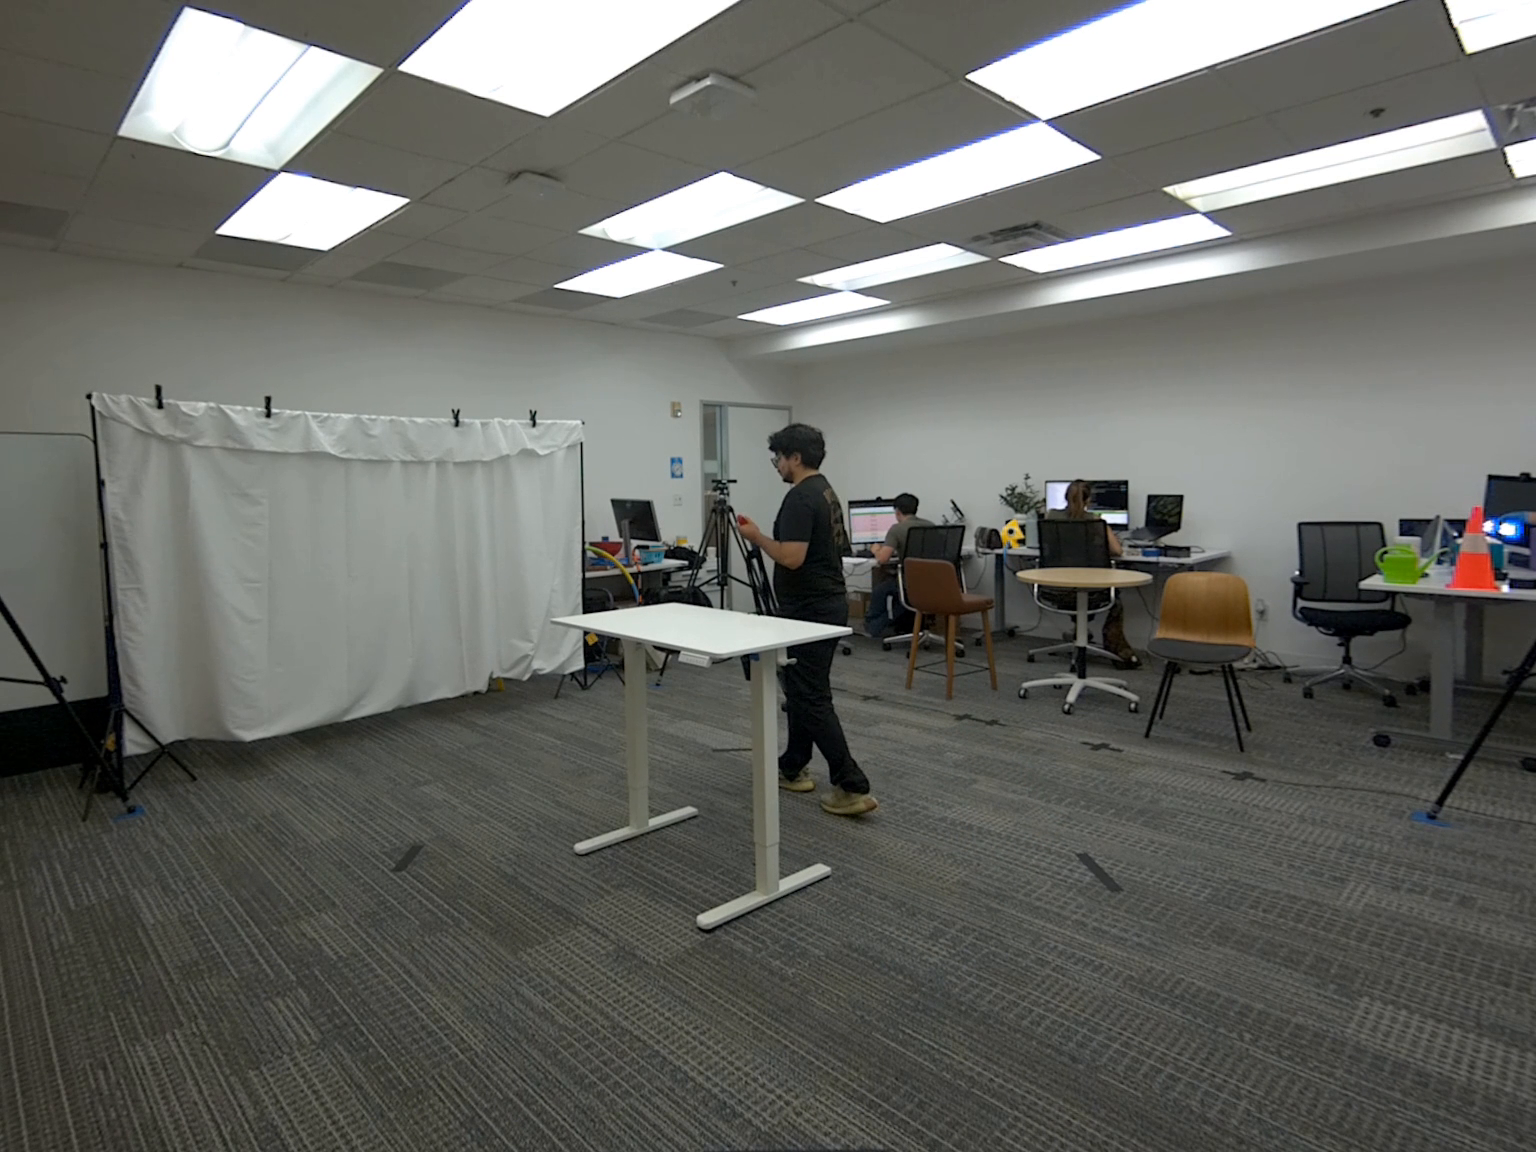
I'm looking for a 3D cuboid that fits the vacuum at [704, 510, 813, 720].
[{"bbox_3d":[0.015,0.200,3.888,0.259,1.023,0.144,-1,30,36],"label":"vacuum"}]
